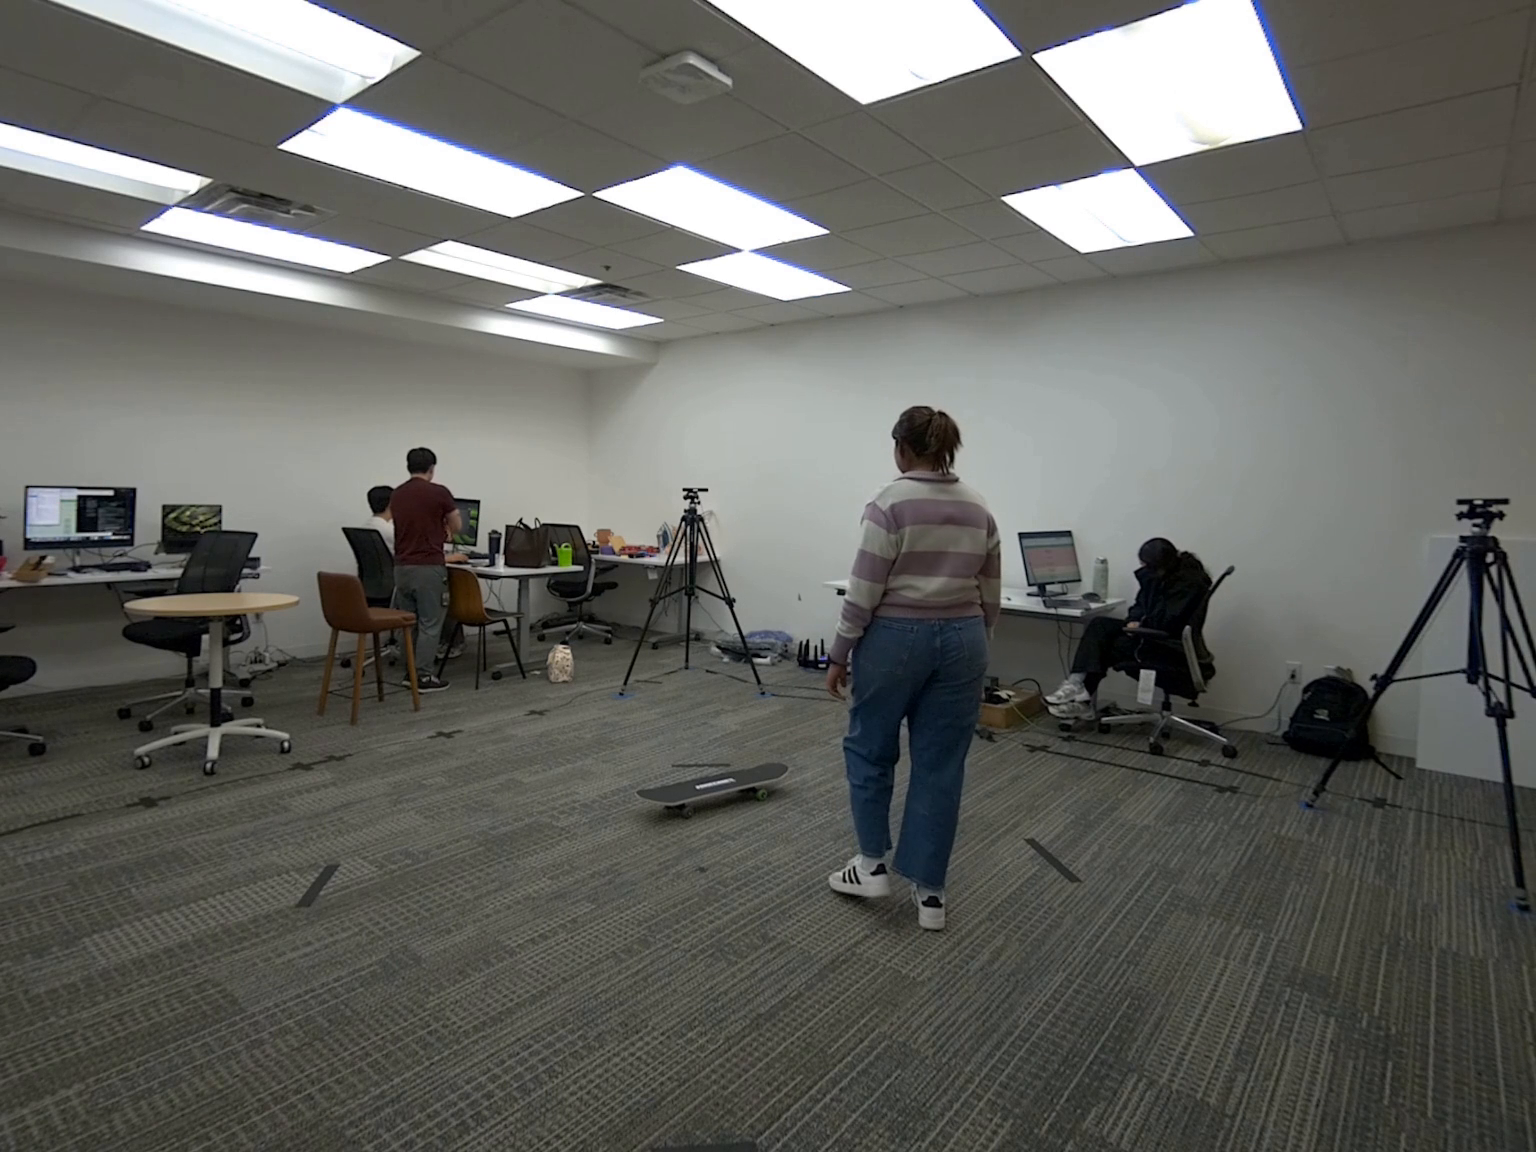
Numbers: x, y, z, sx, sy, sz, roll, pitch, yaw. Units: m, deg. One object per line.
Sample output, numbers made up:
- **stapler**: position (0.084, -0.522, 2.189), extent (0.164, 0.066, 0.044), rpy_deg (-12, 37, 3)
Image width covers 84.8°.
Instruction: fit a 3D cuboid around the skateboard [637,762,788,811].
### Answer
- **skateboard**: position (-0.239, 0.948, 3.769), extent (0.763, 0.110, 0.200), rpy_deg (-3, 6, -35)
